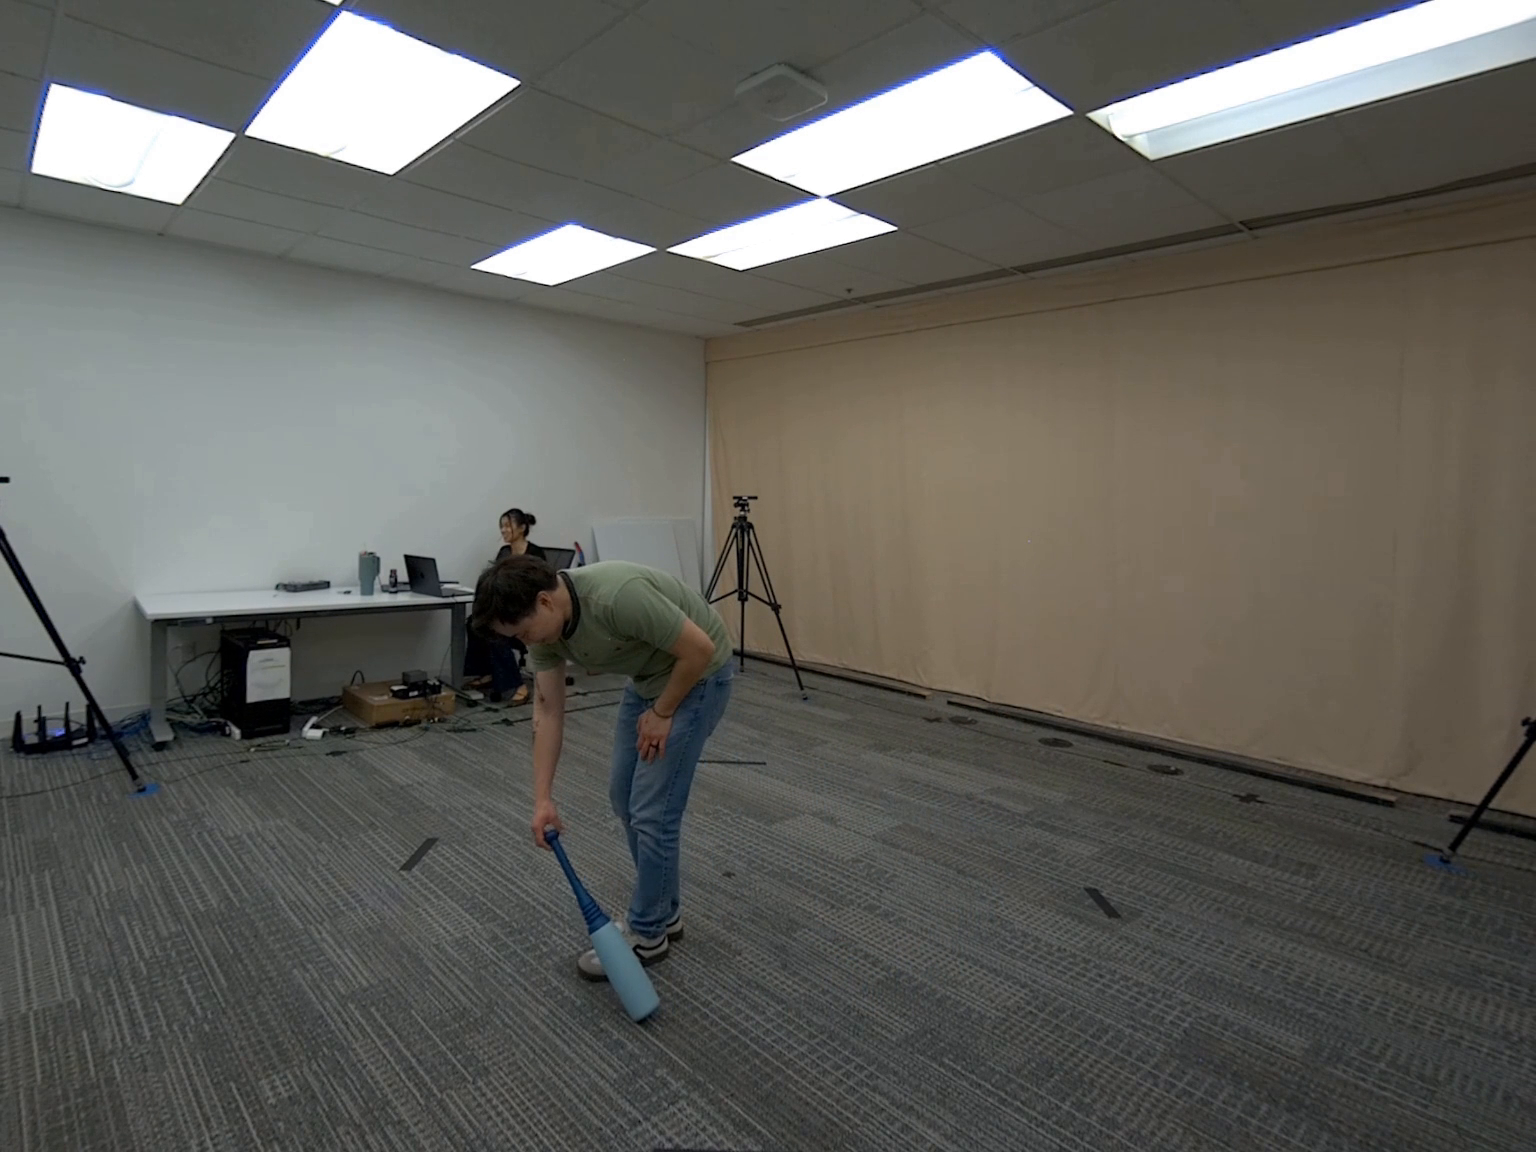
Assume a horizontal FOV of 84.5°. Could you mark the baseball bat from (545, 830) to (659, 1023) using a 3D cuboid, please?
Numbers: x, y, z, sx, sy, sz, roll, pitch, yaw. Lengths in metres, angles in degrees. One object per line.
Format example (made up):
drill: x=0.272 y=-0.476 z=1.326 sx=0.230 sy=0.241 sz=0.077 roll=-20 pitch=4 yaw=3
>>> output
baseball bat: x=-0.481 y=0.946 z=2.292 sx=0.089 sy=0.552 sz=0.088 roll=-32 pitch=-15 yaw=-10
